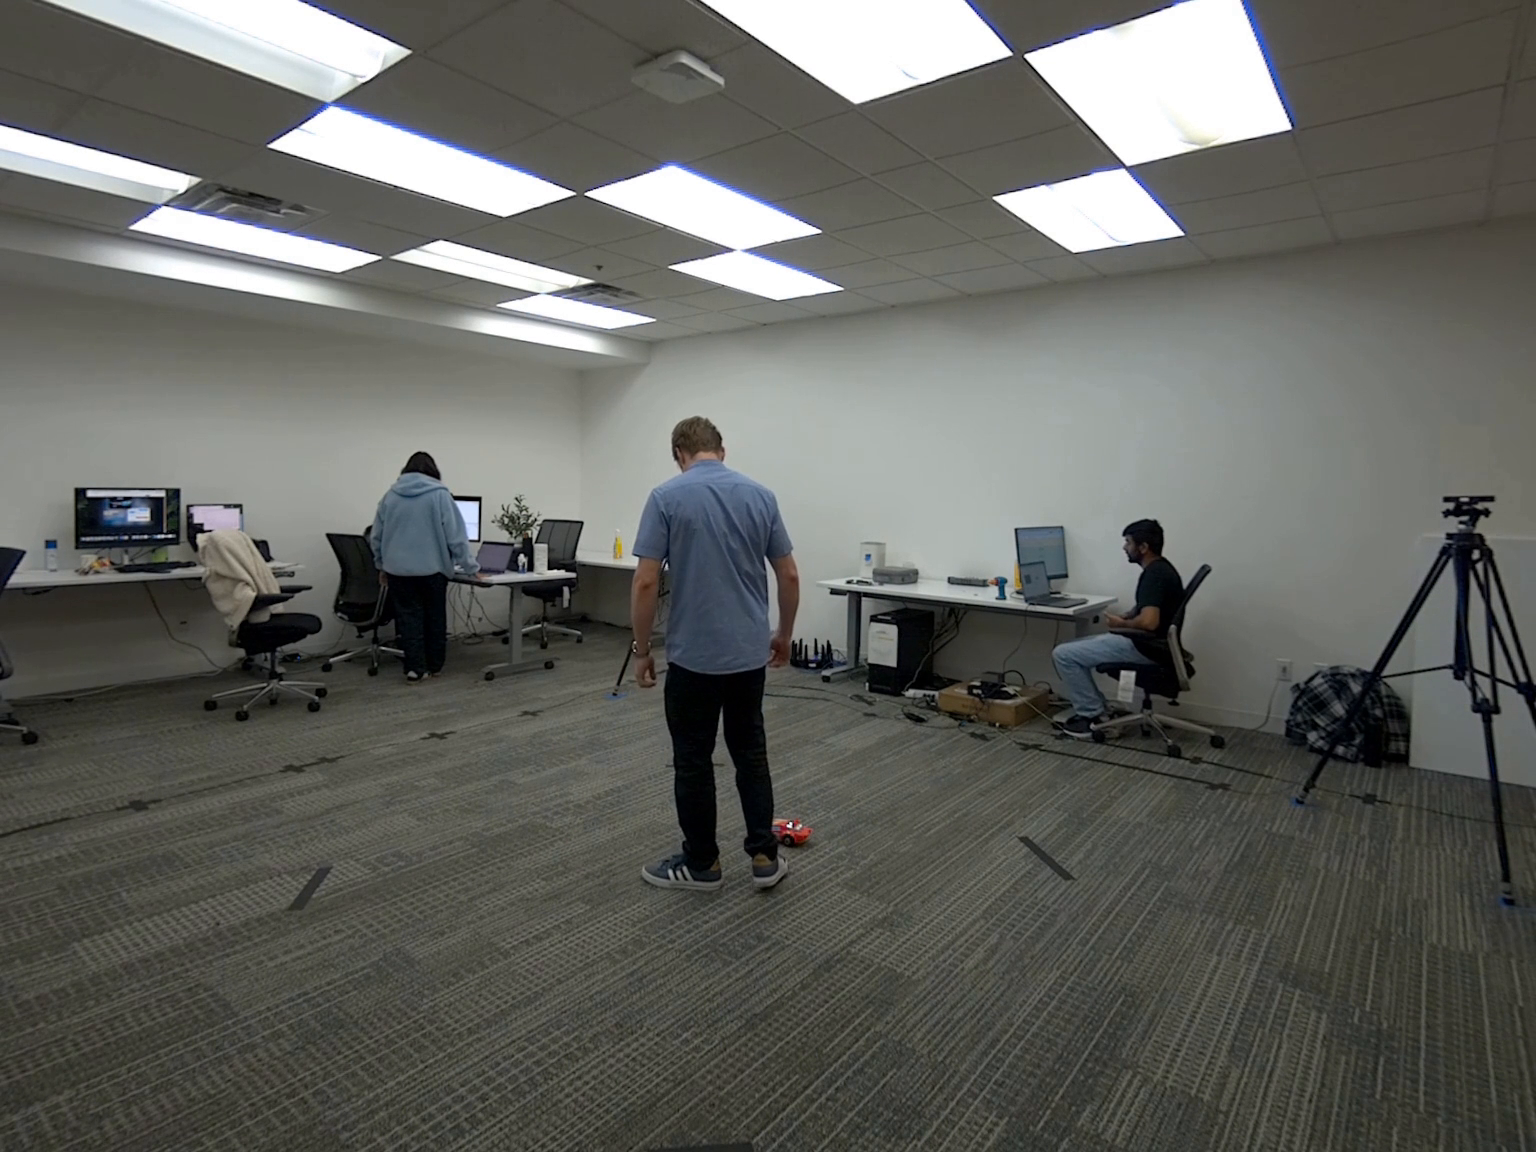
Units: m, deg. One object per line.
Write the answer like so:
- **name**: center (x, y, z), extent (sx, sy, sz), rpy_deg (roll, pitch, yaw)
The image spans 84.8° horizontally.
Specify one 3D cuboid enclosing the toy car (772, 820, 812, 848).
- **toy car**: center (0.048, 1.014, 3.383), extent (0.260, 0.083, 0.127), rpy_deg (-9, -1, 26)
